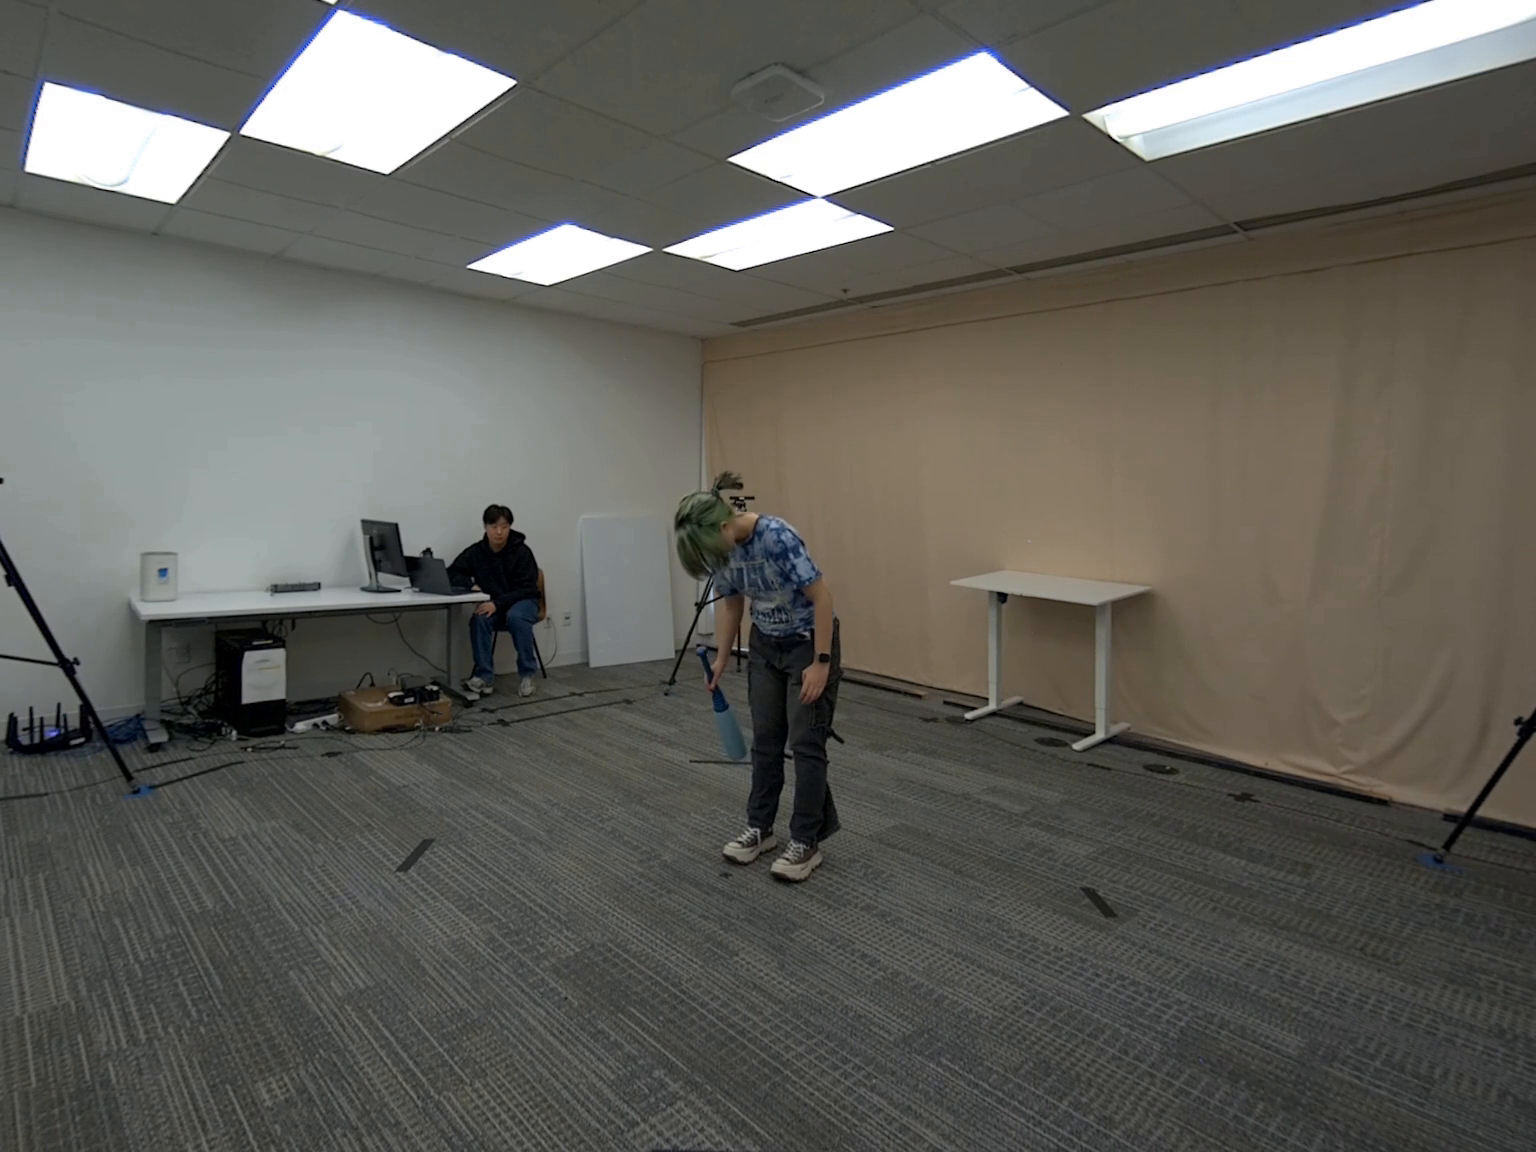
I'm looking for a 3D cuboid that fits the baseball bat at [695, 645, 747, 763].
[{"bbox_3d":[-0.195,0.524,3.412,0.089,0.532,0.090,-13,24,5],"label":"baseball bat"}]
